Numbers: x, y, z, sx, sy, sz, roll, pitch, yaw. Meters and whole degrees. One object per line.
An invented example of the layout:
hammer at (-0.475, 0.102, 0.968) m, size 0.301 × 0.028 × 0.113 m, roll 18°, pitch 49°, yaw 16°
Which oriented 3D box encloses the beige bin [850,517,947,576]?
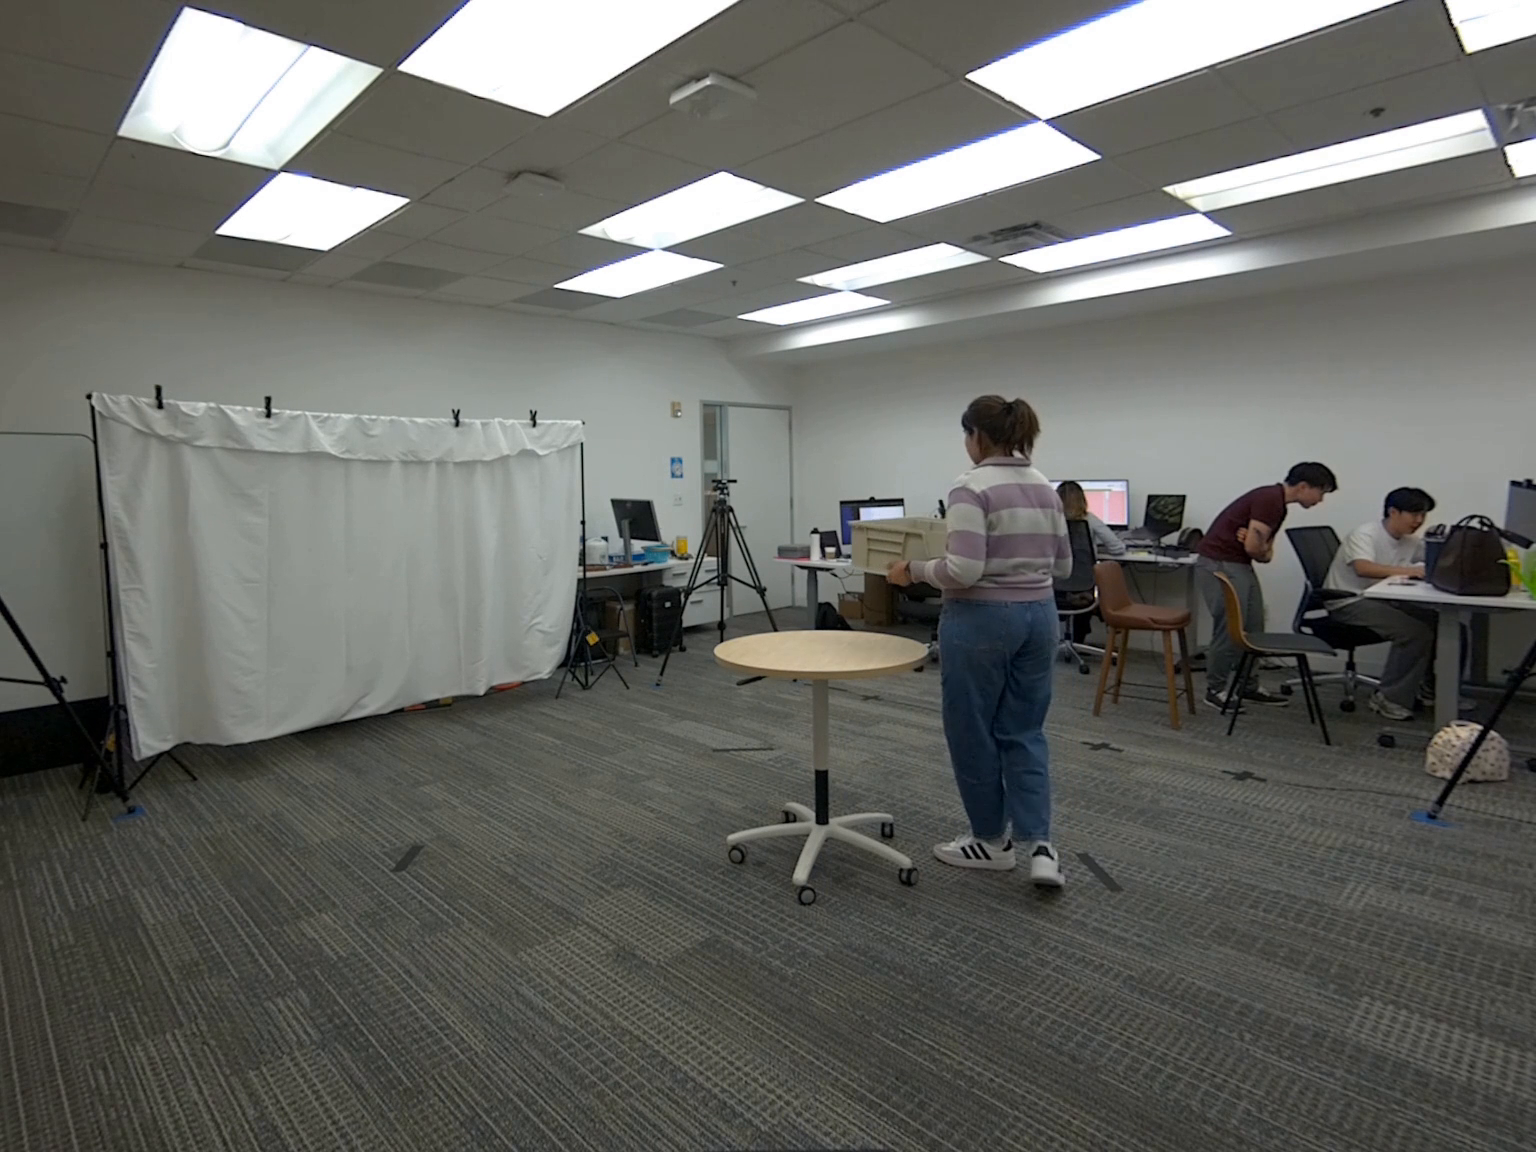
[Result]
beige bin at (0.576, -0.107, 3.216) m, size 0.389 × 0.188 × 0.412 m, roll 7°, pitch 11°, yaw 41°
